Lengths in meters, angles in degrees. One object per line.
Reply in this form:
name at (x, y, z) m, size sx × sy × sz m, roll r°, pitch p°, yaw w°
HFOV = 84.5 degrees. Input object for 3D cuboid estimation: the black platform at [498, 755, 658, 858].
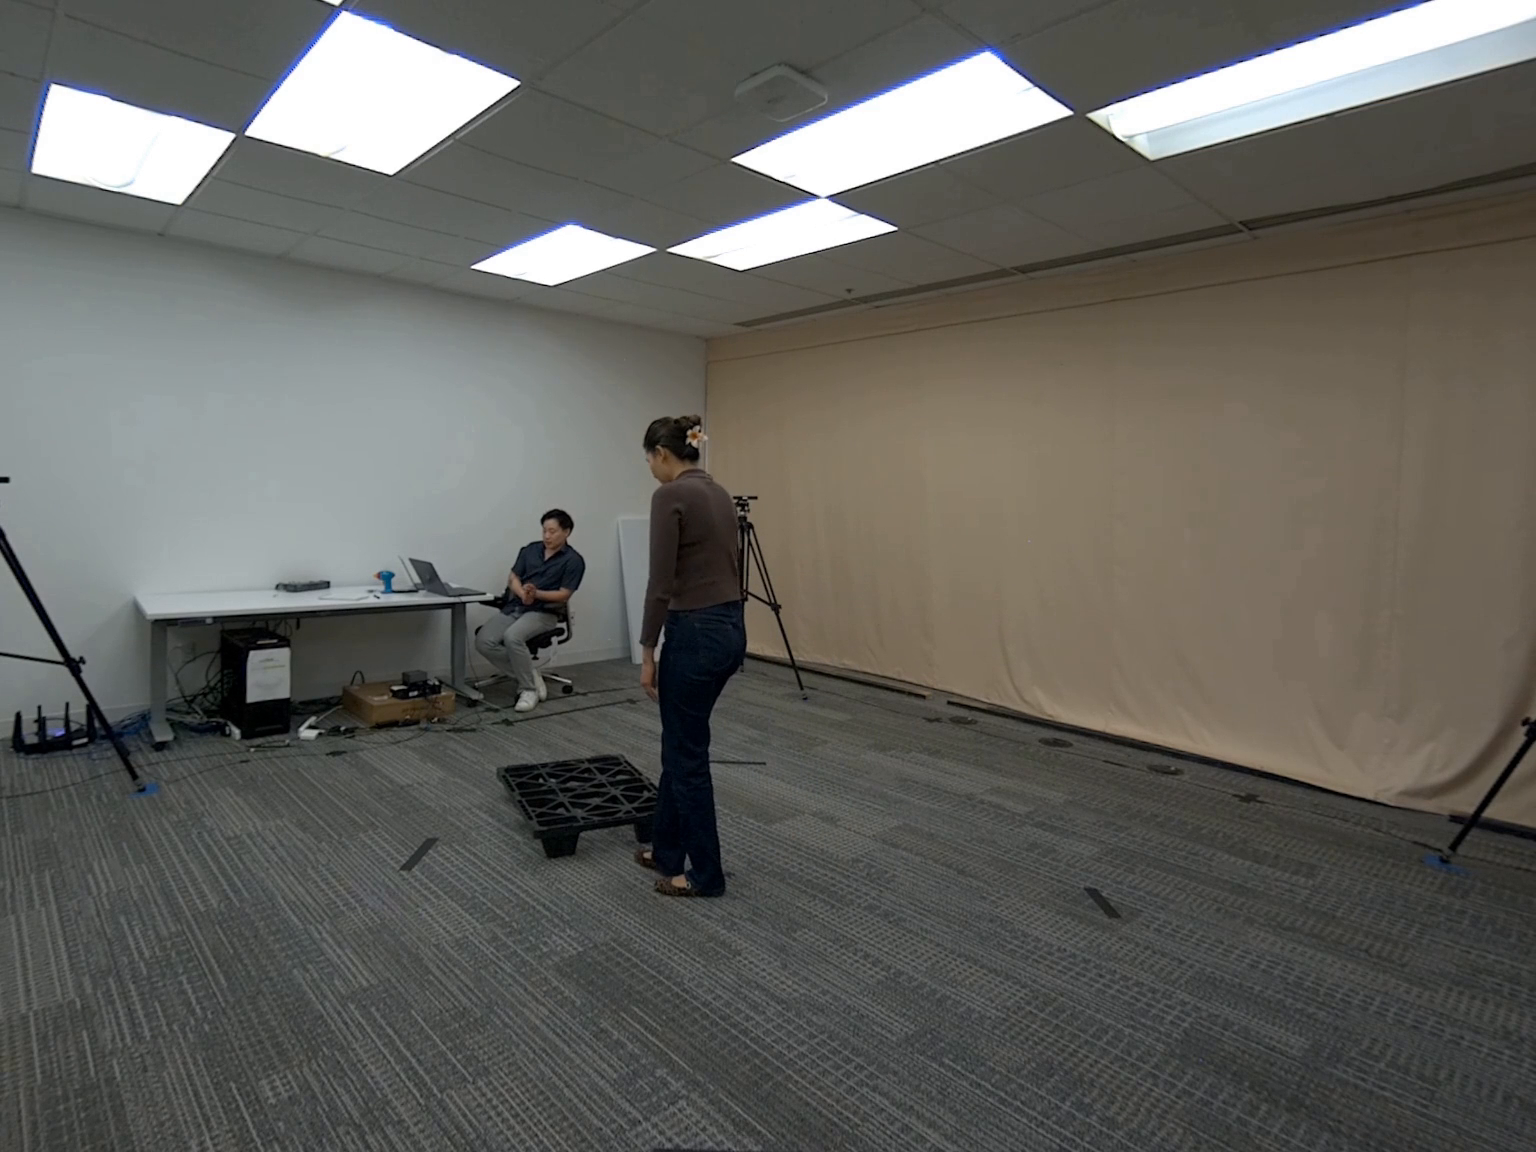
black platform at (-0.807, 0.974, 3.620) m, size 0.594 × 0.143 × 0.823 m, roll -2°, pitch 5°, yaw -27°
